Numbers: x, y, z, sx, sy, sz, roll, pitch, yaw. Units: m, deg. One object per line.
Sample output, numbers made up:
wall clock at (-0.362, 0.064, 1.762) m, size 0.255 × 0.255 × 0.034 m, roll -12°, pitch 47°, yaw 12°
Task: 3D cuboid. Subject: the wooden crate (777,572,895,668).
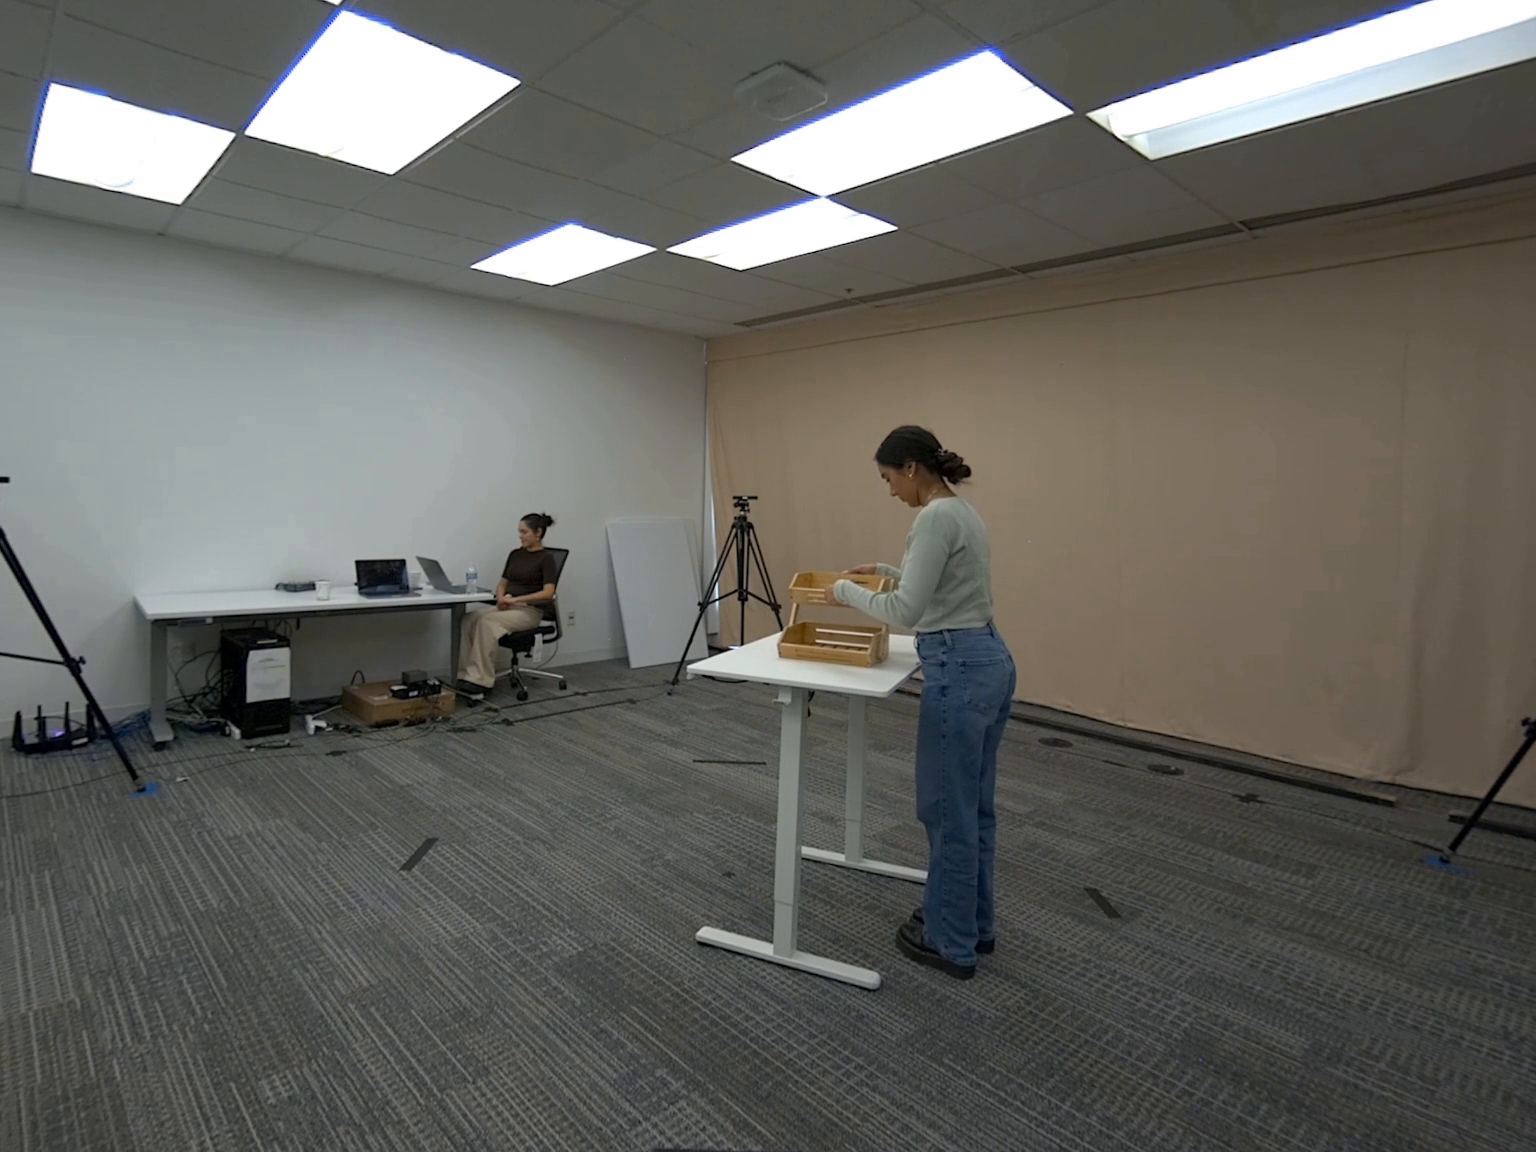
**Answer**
wooden crate at (0.215, 0.127, 2.739) m, size 0.330 × 0.273 × 0.297 m, roll 3°, pitch 4°, yaw 22°
